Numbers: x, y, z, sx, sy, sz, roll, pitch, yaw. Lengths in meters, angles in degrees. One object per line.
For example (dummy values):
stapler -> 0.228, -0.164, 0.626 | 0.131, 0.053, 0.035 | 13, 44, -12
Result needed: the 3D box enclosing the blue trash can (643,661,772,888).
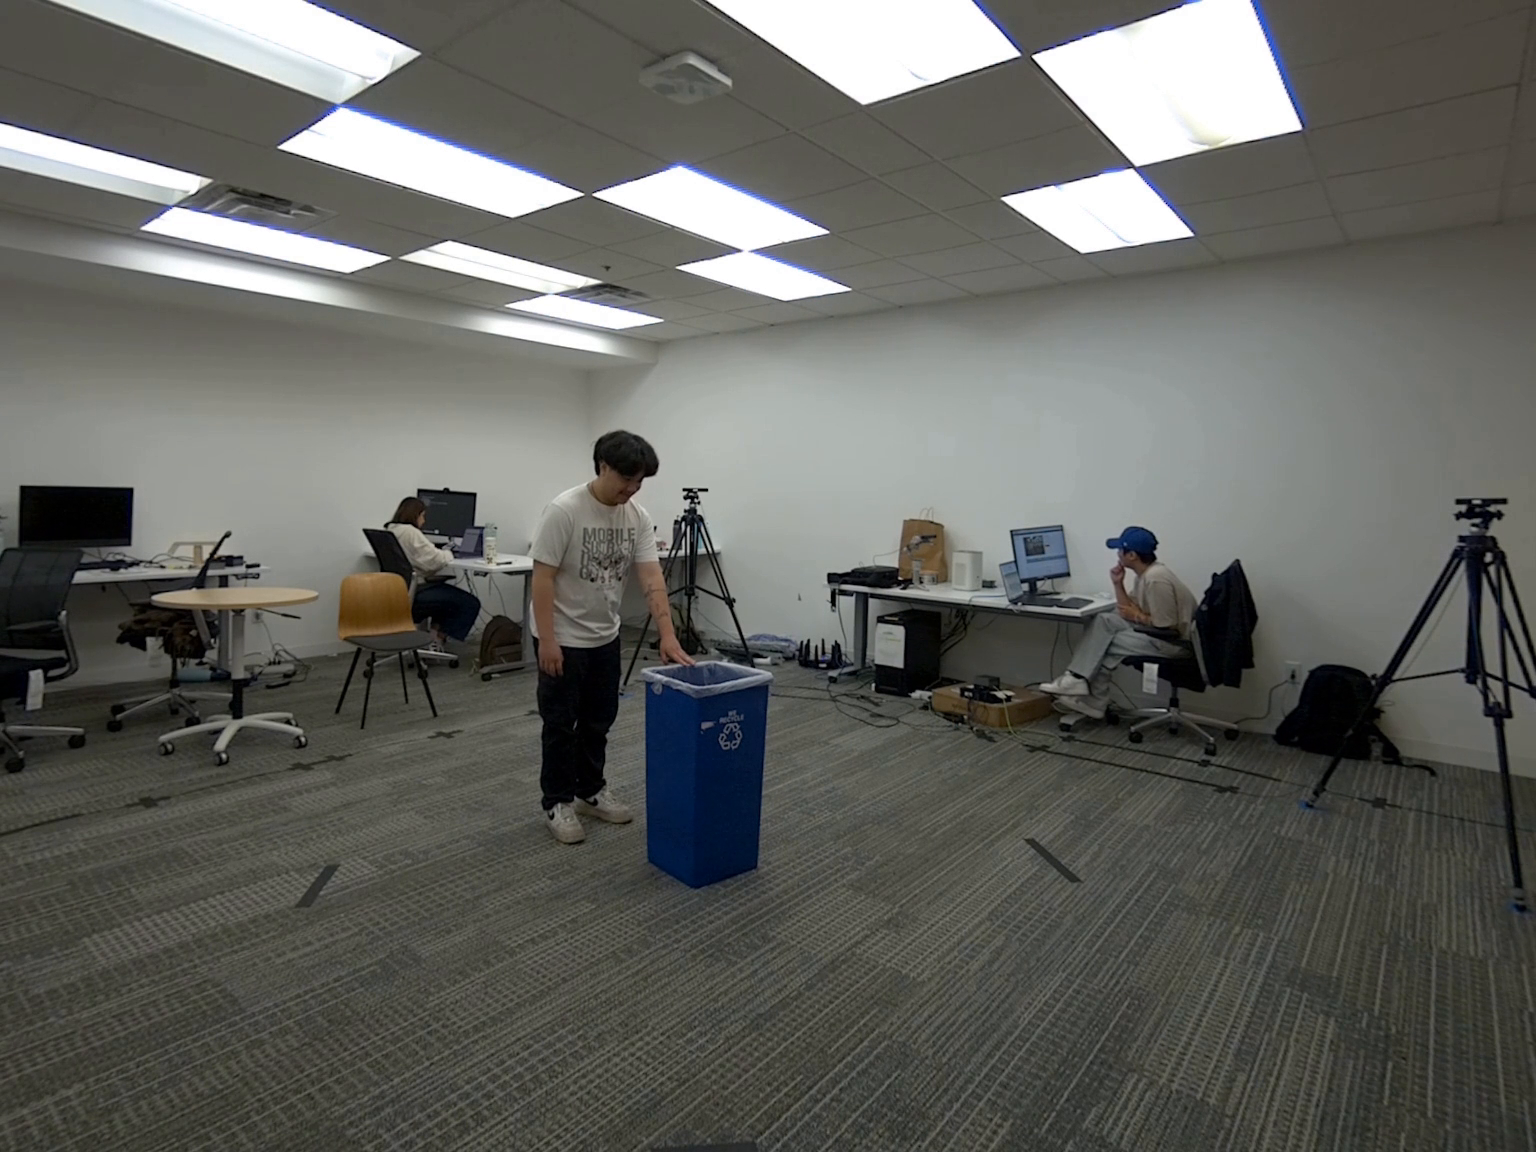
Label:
blue trash can -> -0.239, 0.706, 3.145 | 0.363, 0.711, 0.391 | -2, 4, -41
